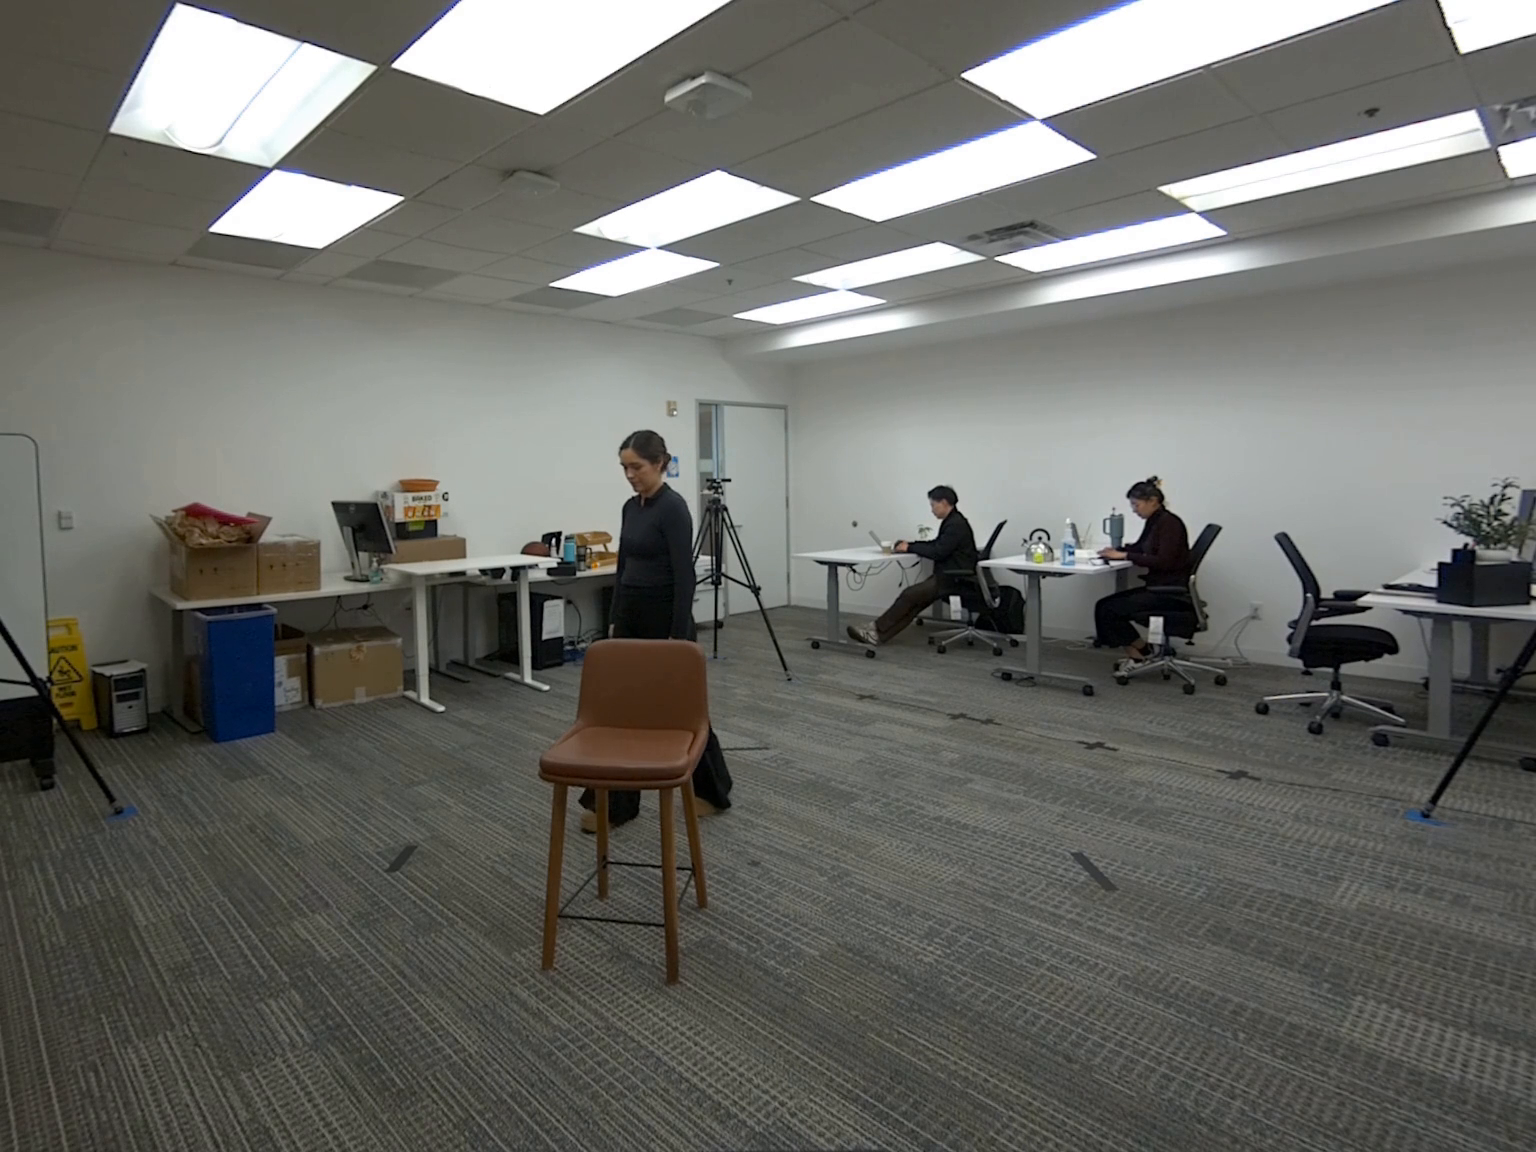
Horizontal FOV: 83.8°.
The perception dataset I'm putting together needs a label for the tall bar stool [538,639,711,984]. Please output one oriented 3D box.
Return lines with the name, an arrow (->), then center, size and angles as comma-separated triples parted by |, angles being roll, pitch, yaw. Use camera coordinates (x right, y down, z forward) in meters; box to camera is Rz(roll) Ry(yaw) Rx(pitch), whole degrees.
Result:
tall bar stool -> -0.426, 0.676, 2.613 | 0.462, 0.888, 0.463 | 0, 3, 12
